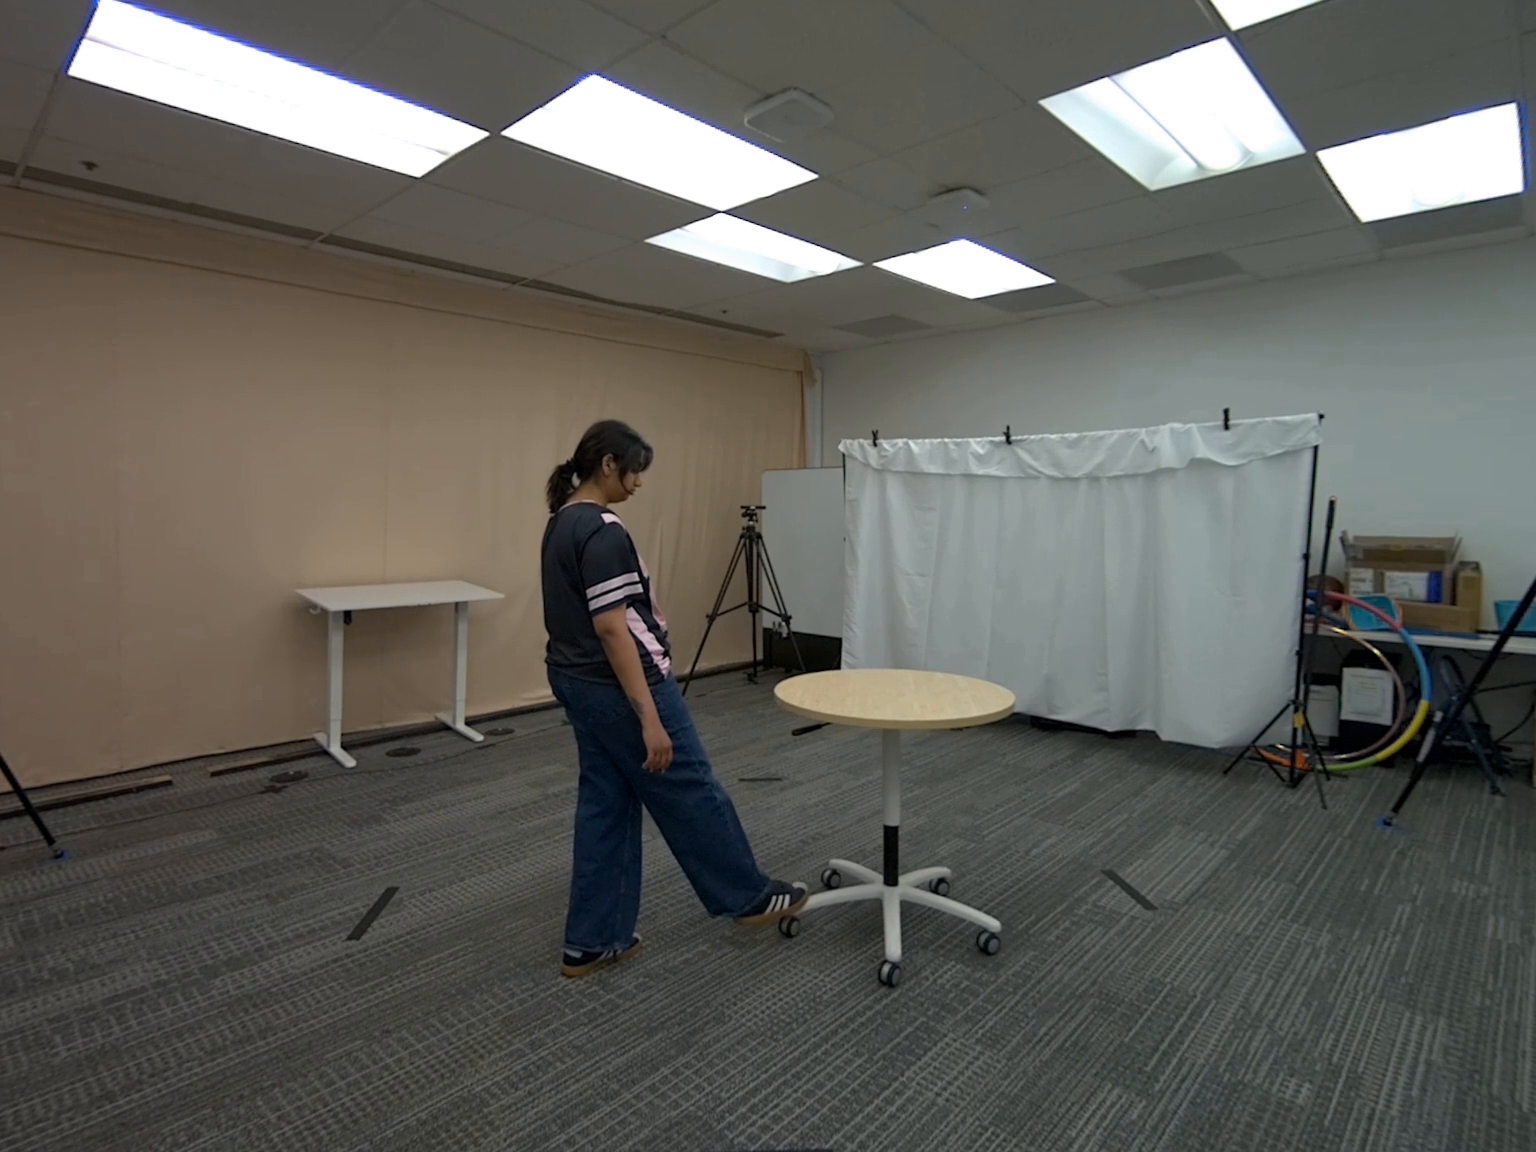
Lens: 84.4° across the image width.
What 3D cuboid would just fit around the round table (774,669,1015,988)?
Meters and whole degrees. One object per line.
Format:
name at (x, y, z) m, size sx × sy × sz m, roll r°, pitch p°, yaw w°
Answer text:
round table at (0.415, 0.771, 2.768) m, size 0.763 × 0.792 × 0.766 m, roll 0°, pitch 3°, yaw -2°
